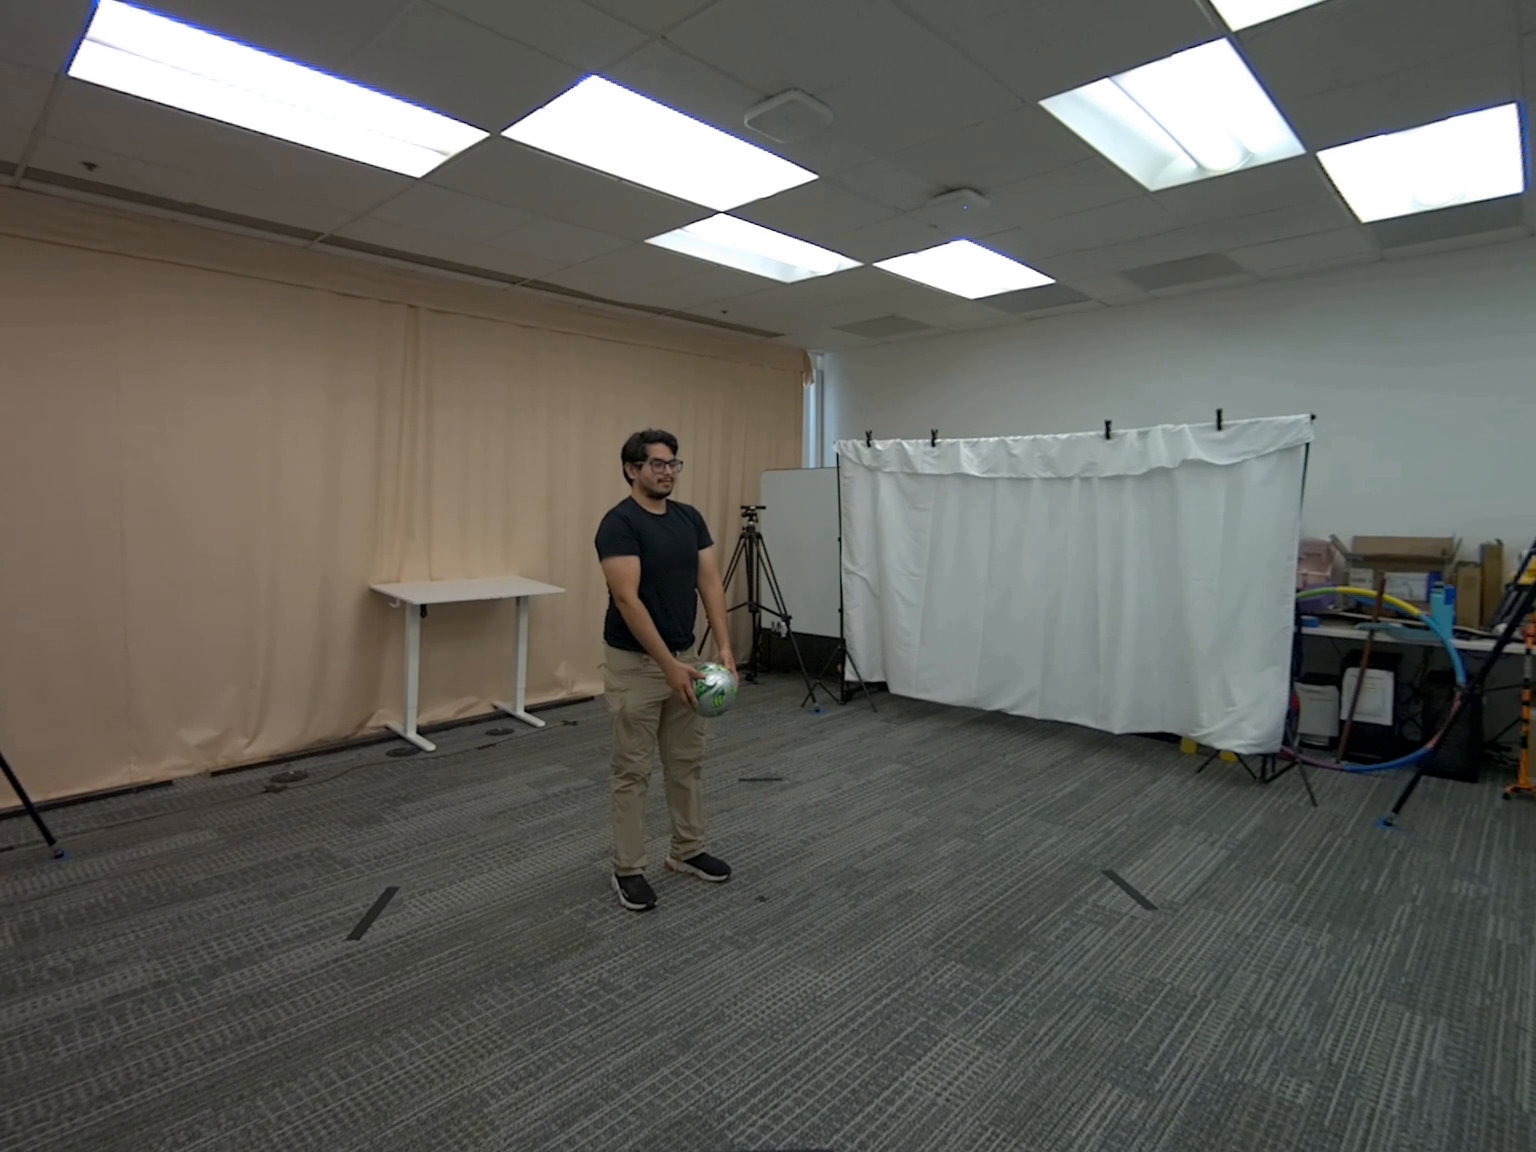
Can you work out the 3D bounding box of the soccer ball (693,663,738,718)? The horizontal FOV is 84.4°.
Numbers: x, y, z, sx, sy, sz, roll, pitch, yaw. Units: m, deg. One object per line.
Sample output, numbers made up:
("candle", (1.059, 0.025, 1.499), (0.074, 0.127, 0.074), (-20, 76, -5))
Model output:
("soccer ball", (-0.207, 0.380, 2.861), (0.187, 0.187, 0.188), (0, 4, -2))
